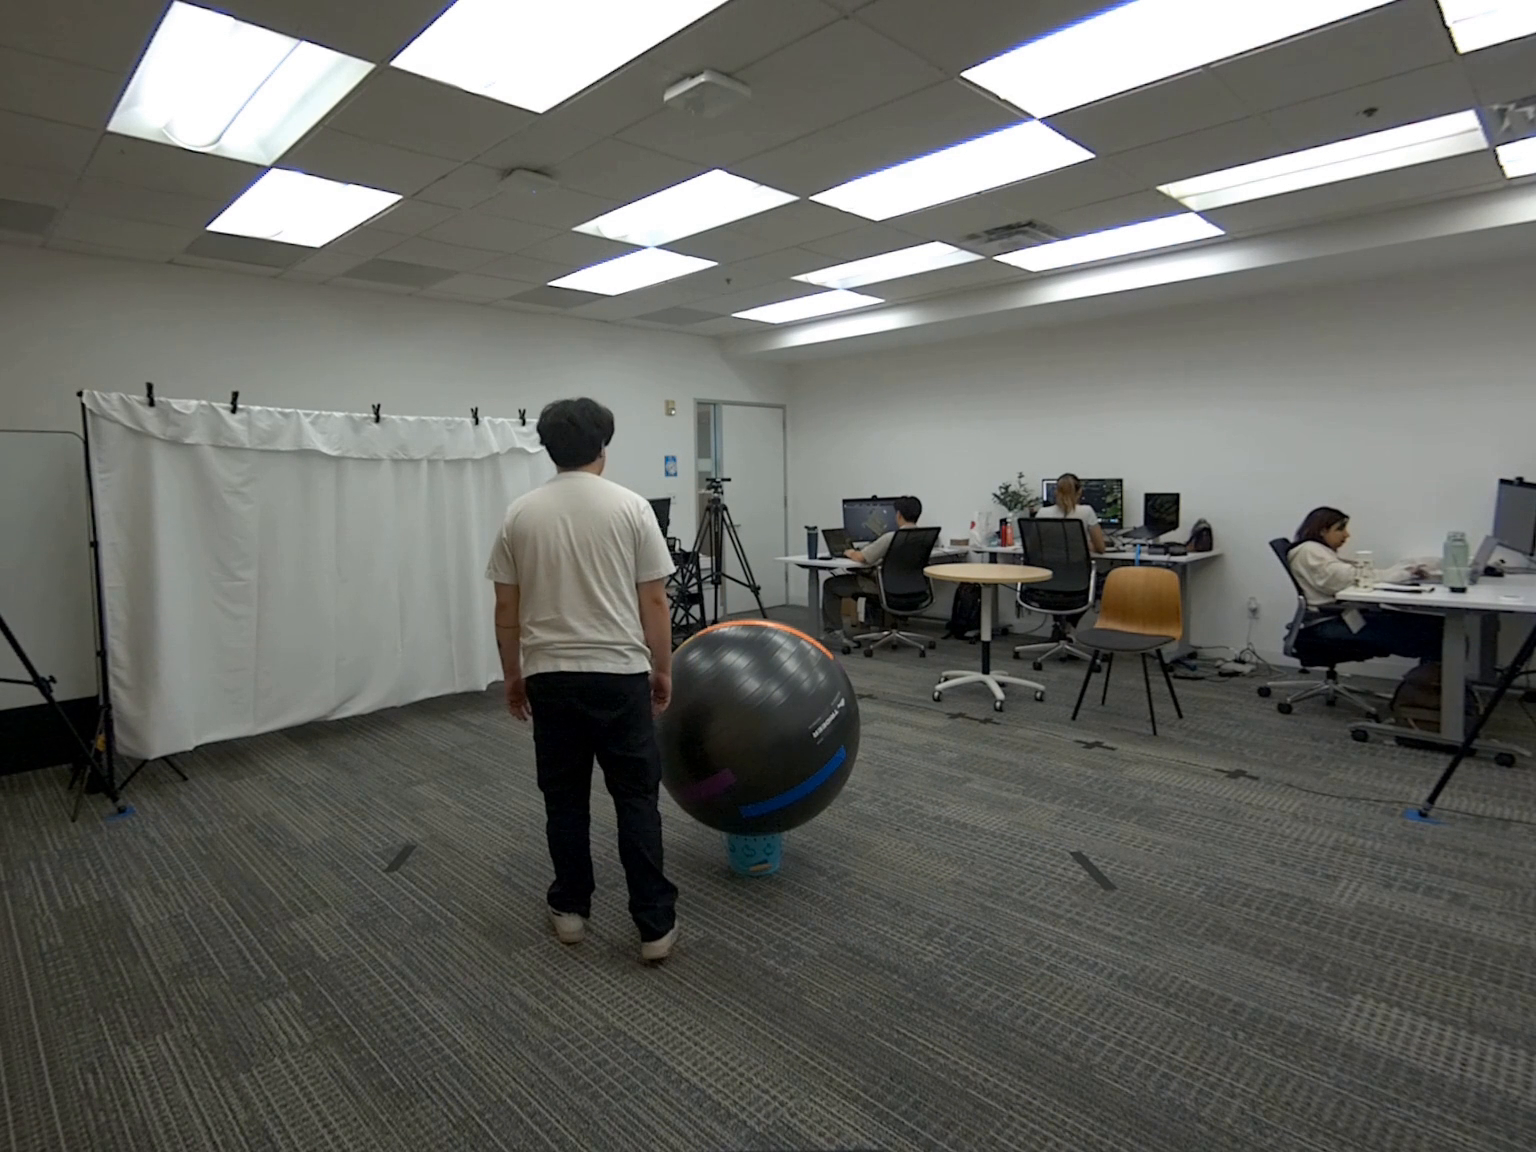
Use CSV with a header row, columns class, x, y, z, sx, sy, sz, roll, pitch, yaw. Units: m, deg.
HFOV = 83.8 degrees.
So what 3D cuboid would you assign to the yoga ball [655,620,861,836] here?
class,x,y,z,sx,sy,sz,roll,pitch,yaw
yoga ball,-0.053,0.538,3.062,0.757,0.755,0.762,-1,5,-2
